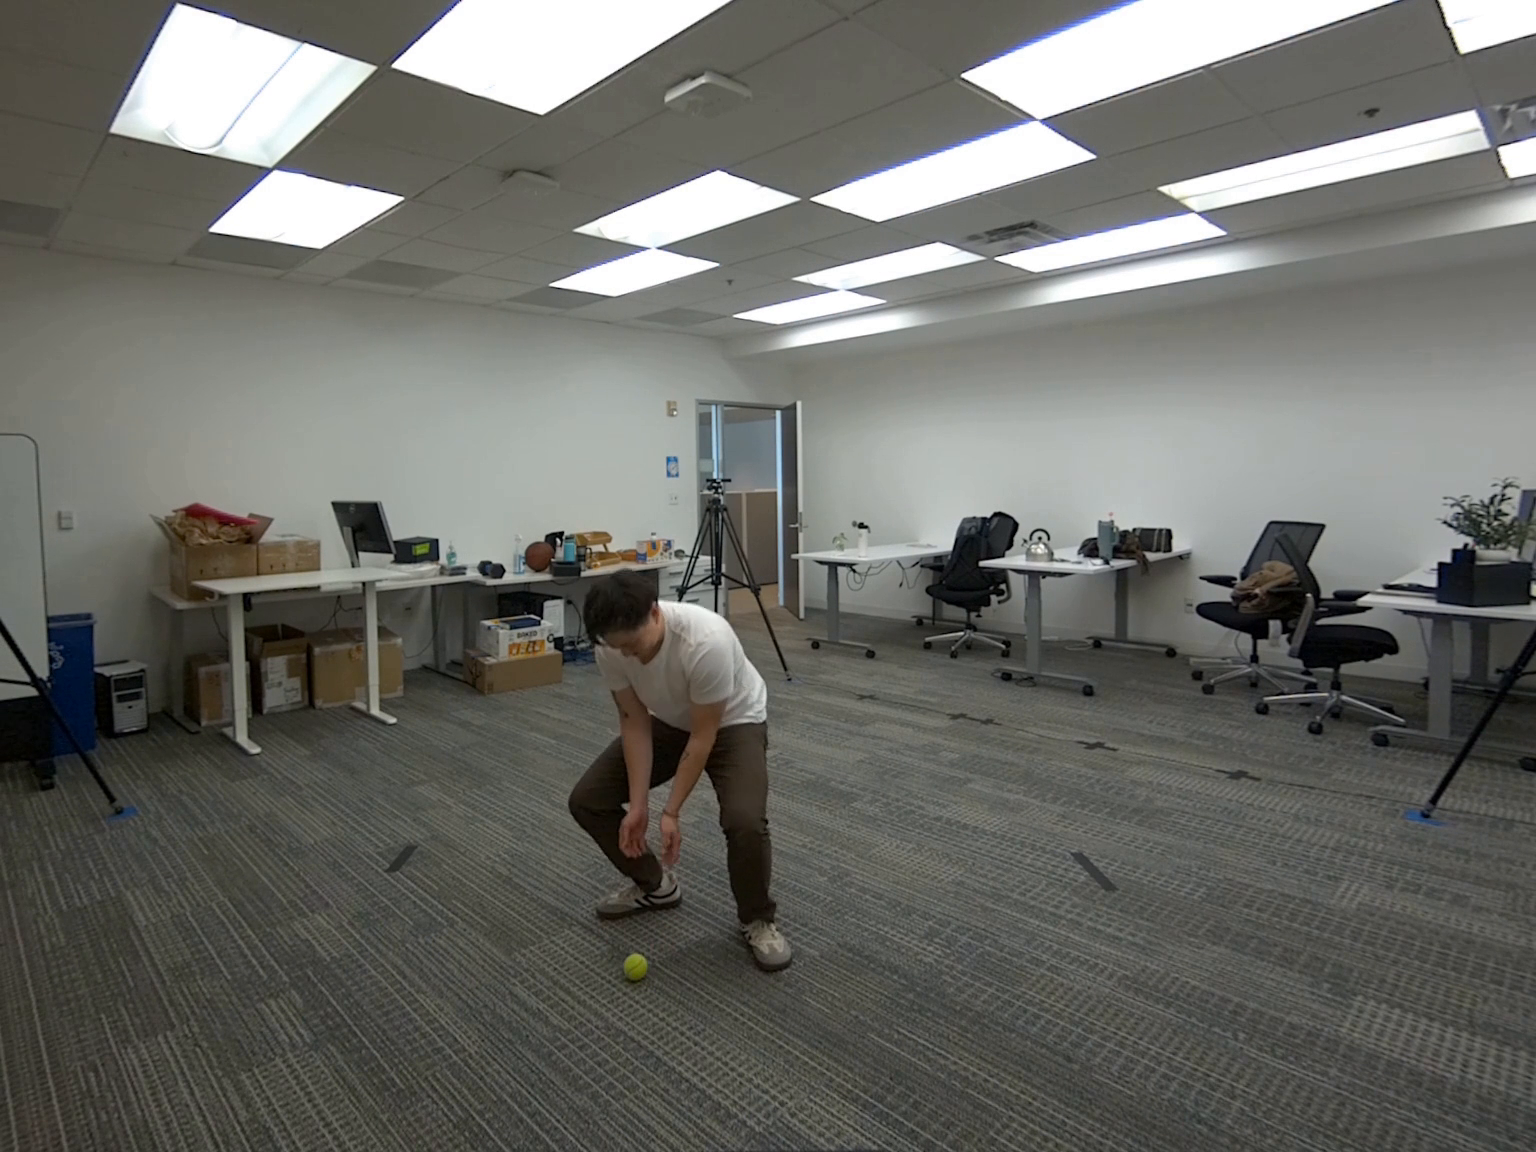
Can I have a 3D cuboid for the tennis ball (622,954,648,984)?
[{"bbox_3d":[-0.368,1.089,2.403,0.066,0.066,0.067,-1,5,-2],"label":"tennis ball"}]
